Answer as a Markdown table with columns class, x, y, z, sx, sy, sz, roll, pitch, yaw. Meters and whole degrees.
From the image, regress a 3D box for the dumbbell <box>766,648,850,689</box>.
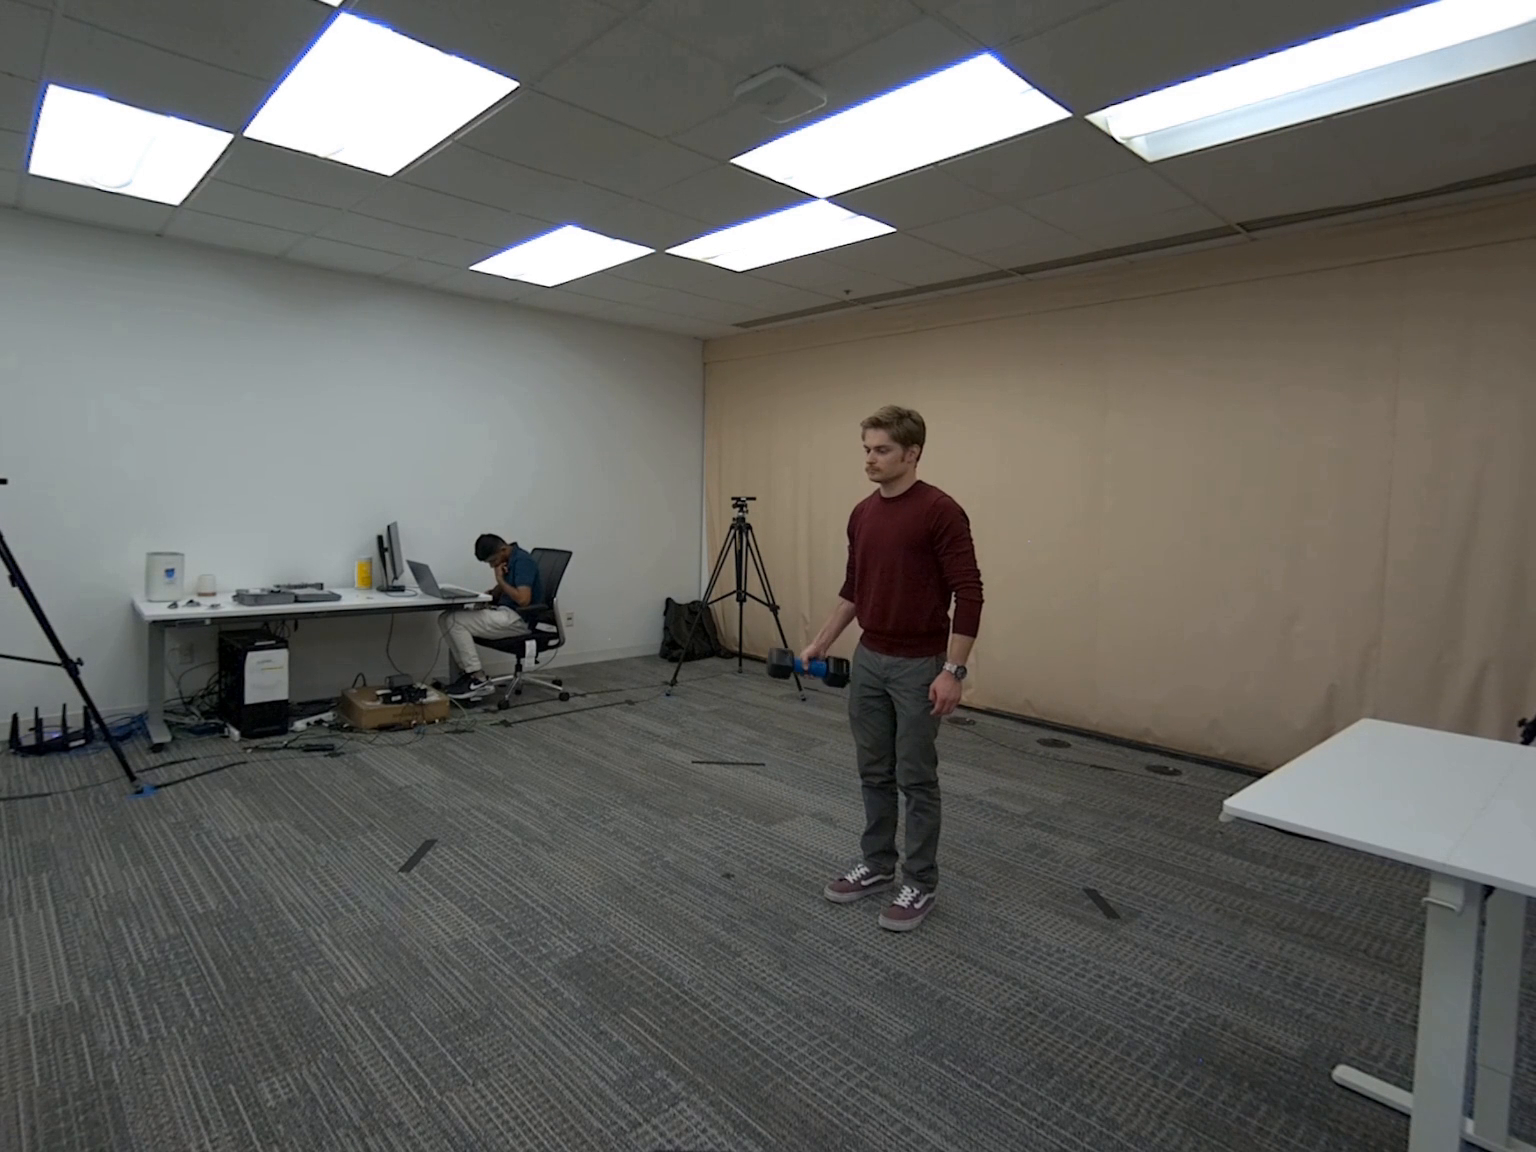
| class | x | y | z | sx | sy | sz | roll | pitch | yaw |
| --- | --- | --- | --- | --- | --- | --- | --- | --- | --- |
| dumbbell | 0.149 | 0.317 | 3.045 | 0.292 | 0.125 | 0.107 | 10 | -38 | -7 |
